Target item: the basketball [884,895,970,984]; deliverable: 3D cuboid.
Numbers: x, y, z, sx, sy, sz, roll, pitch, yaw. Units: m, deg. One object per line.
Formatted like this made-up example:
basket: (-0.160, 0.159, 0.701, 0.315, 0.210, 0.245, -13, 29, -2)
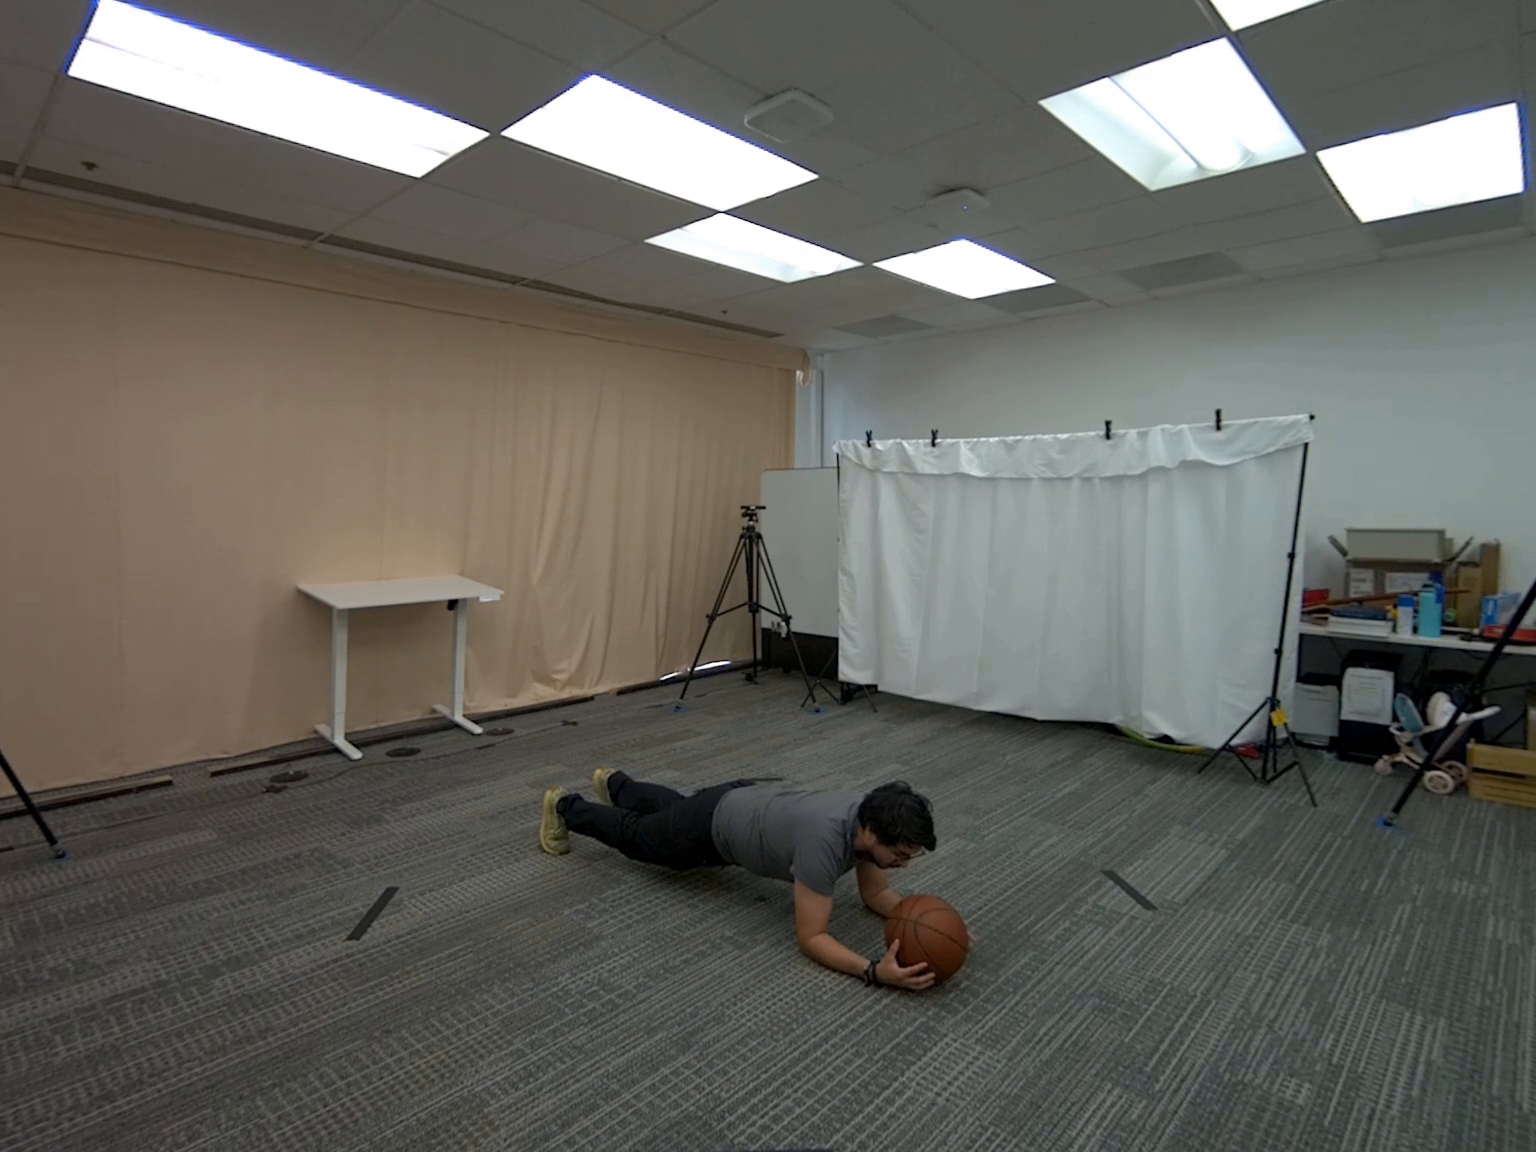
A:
basketball: (0.468, 1.067, 2.480, 0.236, 0.235, 0.237, 0, 4, -2)
